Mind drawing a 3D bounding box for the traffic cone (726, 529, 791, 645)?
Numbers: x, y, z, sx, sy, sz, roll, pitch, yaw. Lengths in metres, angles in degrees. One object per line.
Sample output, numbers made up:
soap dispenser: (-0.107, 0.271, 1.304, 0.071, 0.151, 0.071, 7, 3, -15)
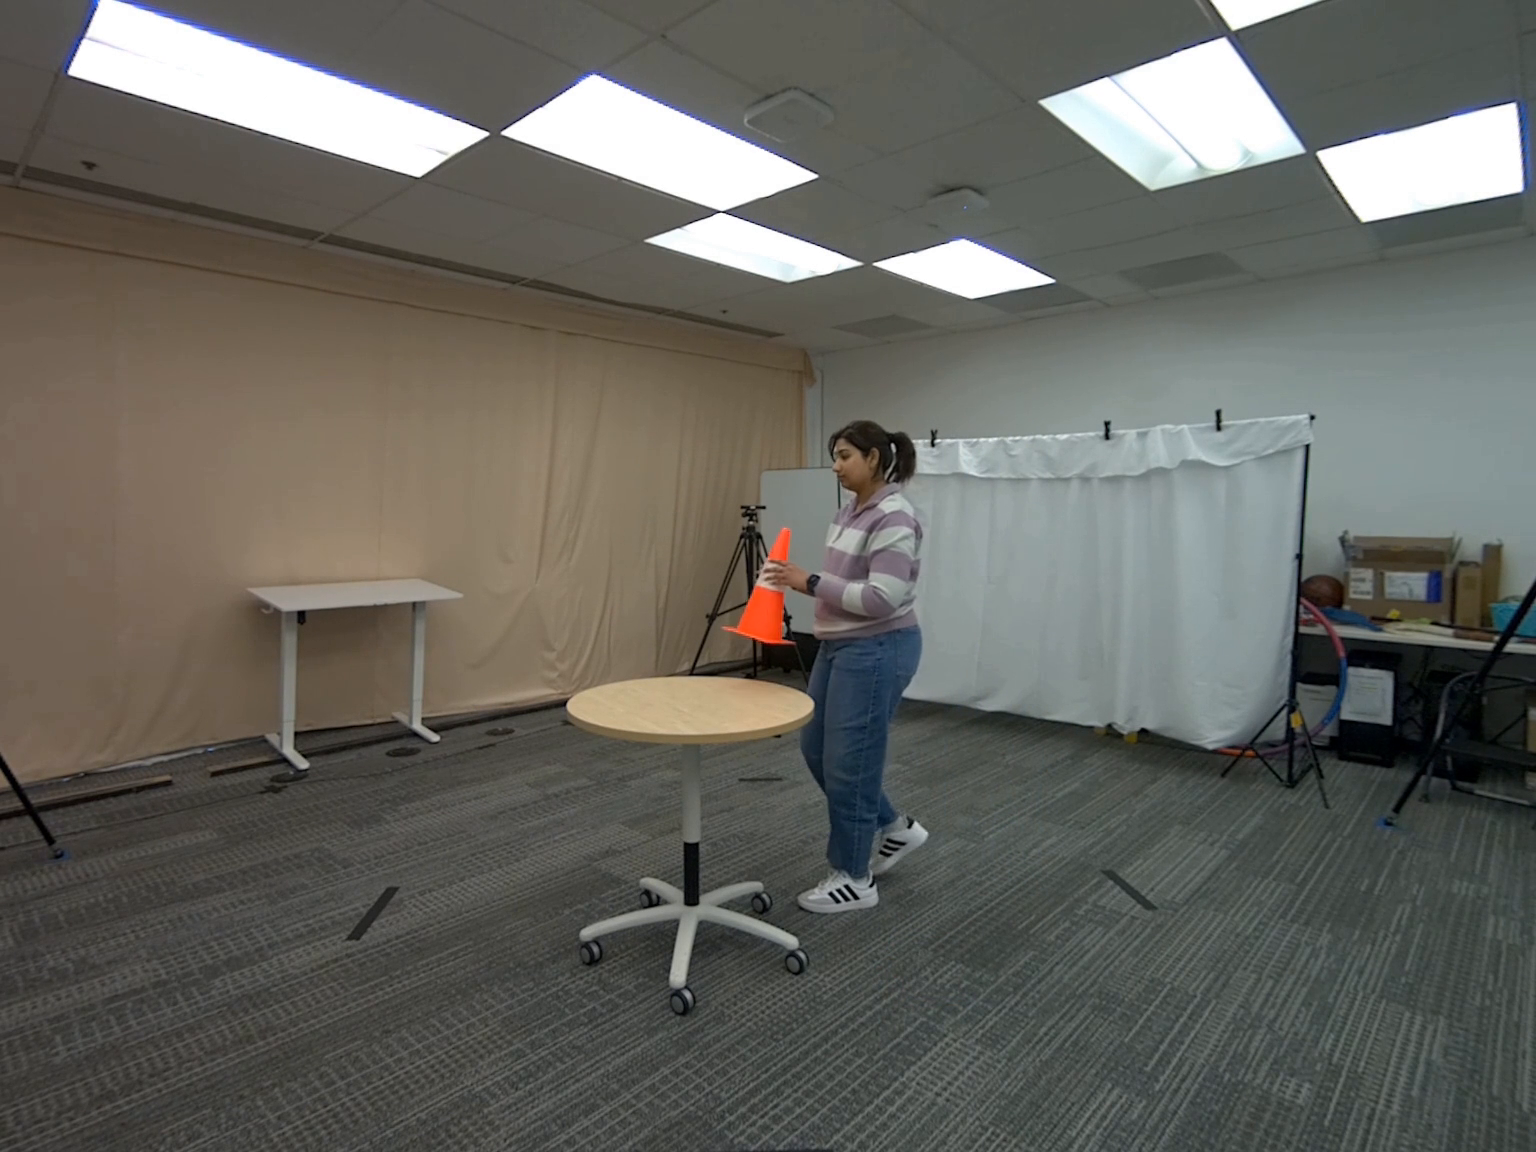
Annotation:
traffic cone: (0.026, 0.031, 2.895, 0.212, 0.383, 0.196, 14, 3, 37)
